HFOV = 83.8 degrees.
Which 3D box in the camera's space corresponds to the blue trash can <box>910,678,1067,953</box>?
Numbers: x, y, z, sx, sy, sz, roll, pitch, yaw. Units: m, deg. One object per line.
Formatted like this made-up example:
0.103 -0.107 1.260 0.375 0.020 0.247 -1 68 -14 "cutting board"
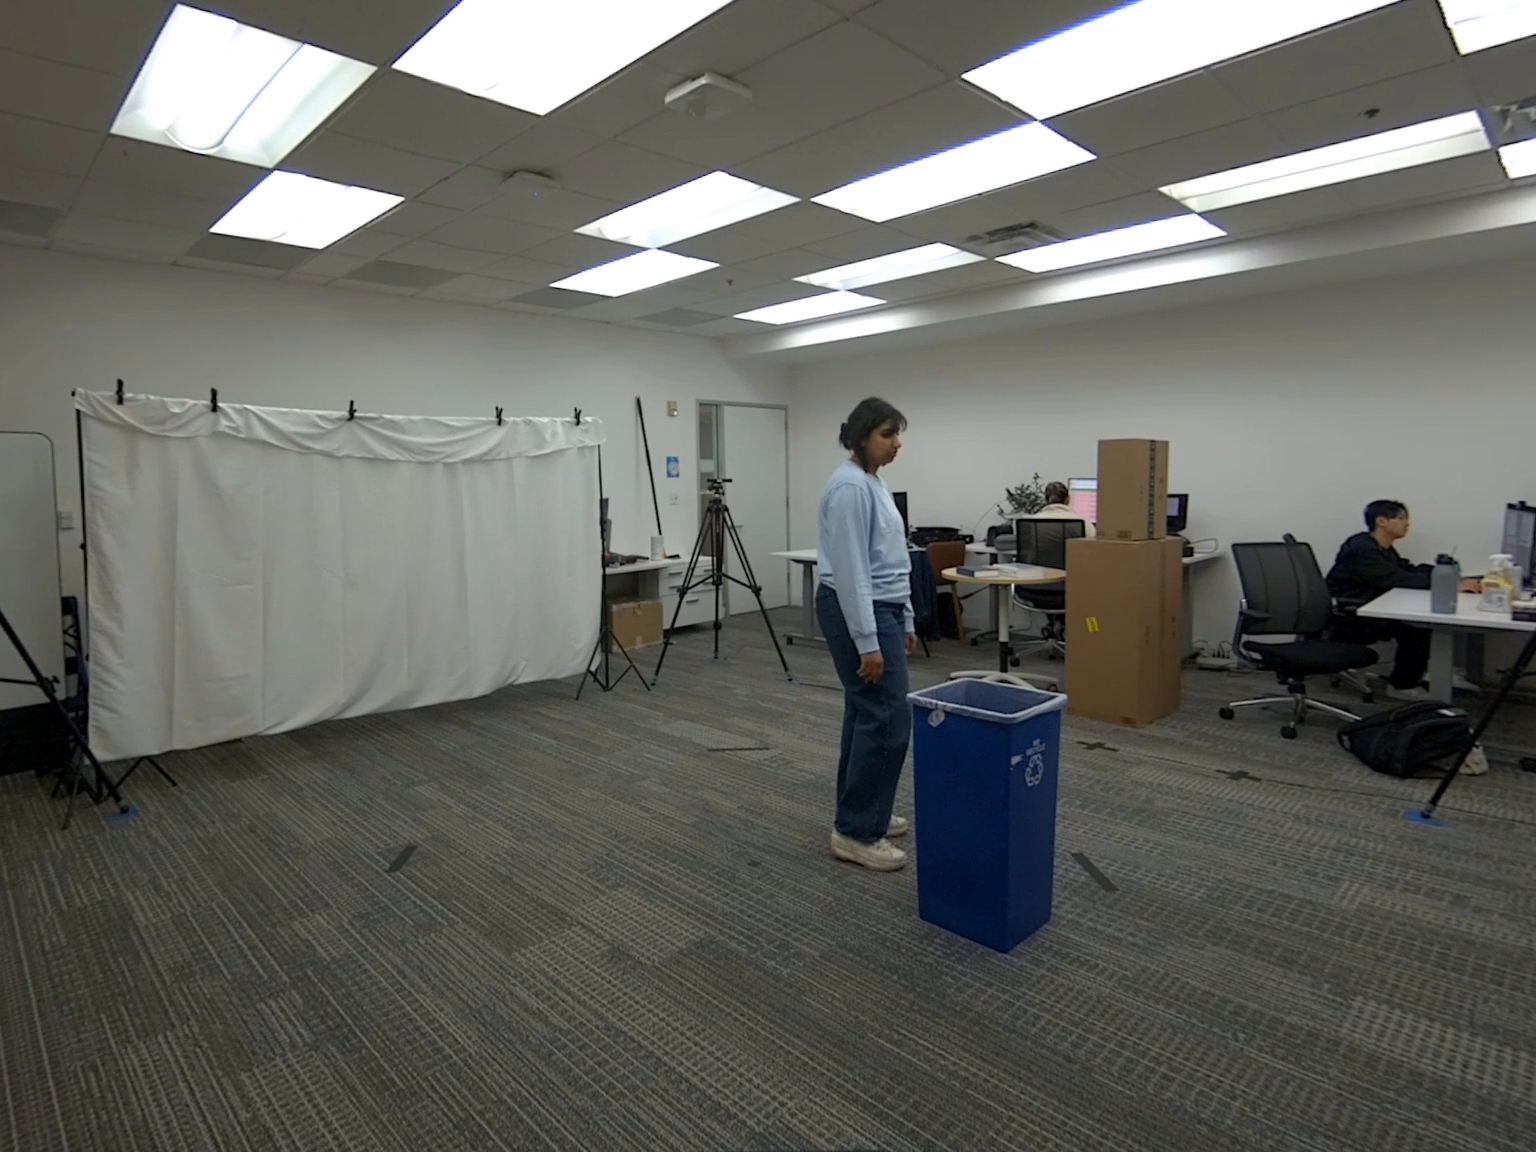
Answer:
0.685 0.724 2.682 0.390 0.711 0.364 3 6 45 "blue trash can"
